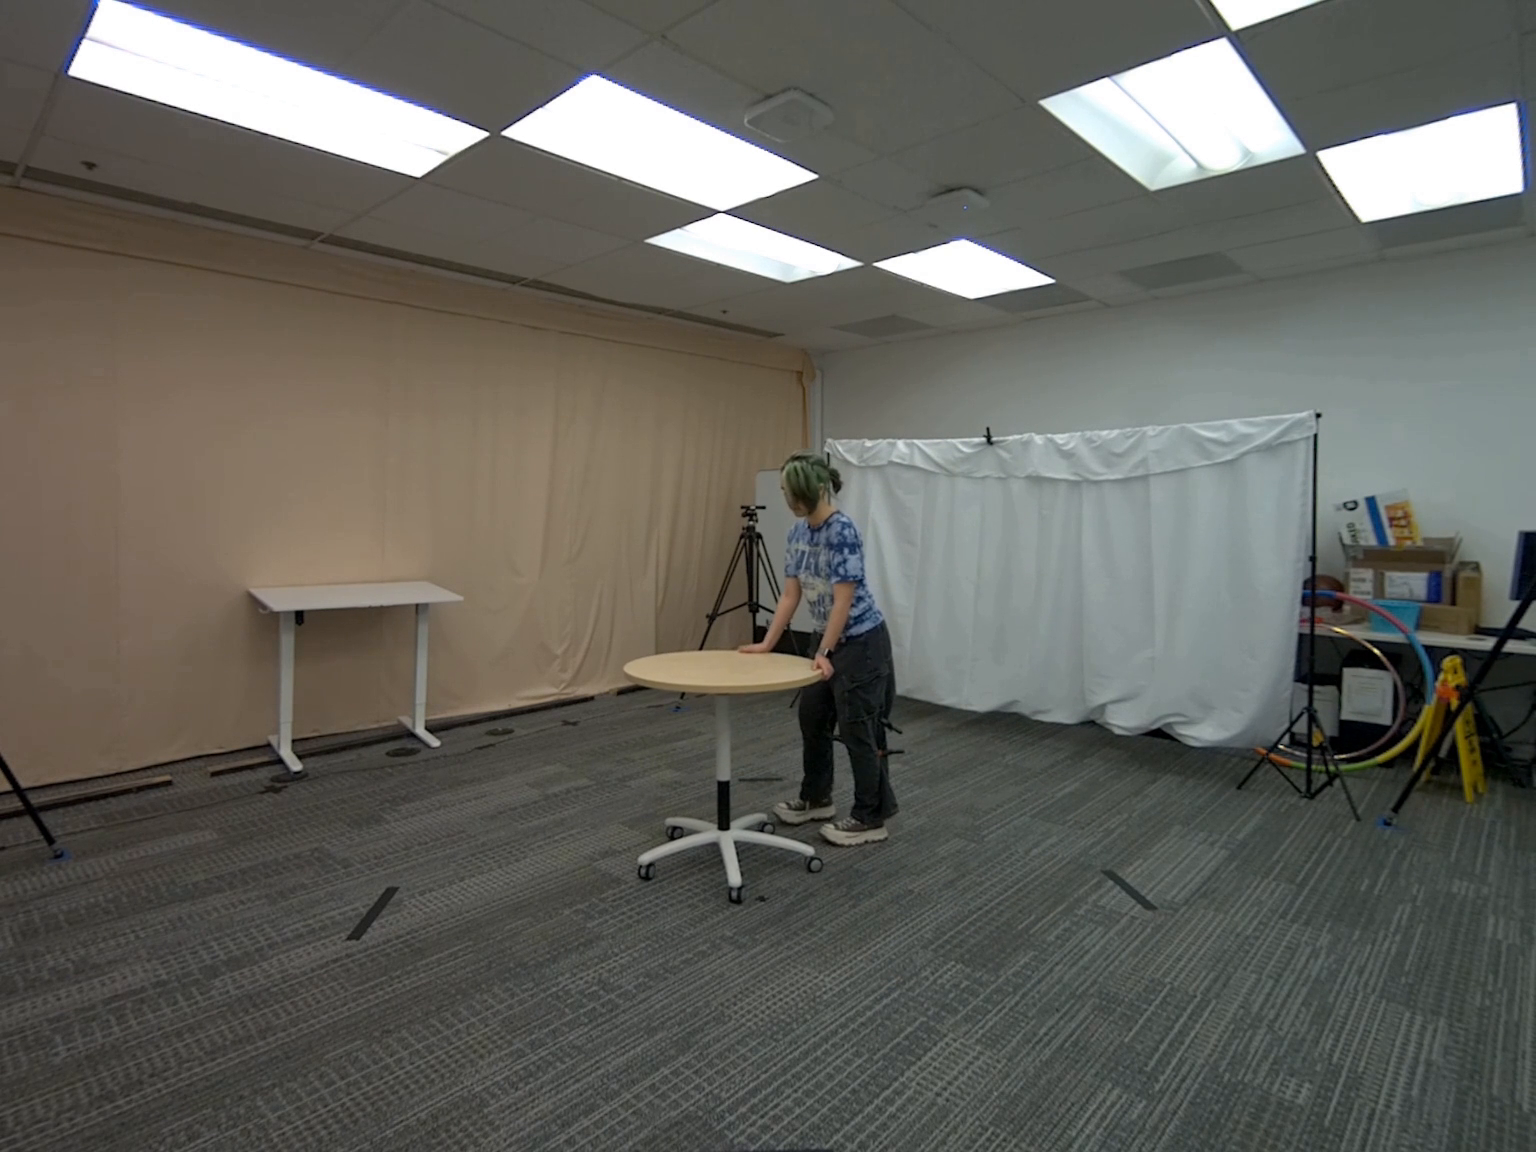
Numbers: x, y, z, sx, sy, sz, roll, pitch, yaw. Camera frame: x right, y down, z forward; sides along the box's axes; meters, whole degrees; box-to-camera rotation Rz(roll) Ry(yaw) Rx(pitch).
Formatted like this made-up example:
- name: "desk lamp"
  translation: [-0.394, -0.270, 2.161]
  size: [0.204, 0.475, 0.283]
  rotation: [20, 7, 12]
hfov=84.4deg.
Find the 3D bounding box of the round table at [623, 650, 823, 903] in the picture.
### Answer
- name: "round table"
  translation: [-0.172, 0.735, 3.259]
  size: [0.763, 0.793, 0.766]
  rotation: [0, 3, -2]
